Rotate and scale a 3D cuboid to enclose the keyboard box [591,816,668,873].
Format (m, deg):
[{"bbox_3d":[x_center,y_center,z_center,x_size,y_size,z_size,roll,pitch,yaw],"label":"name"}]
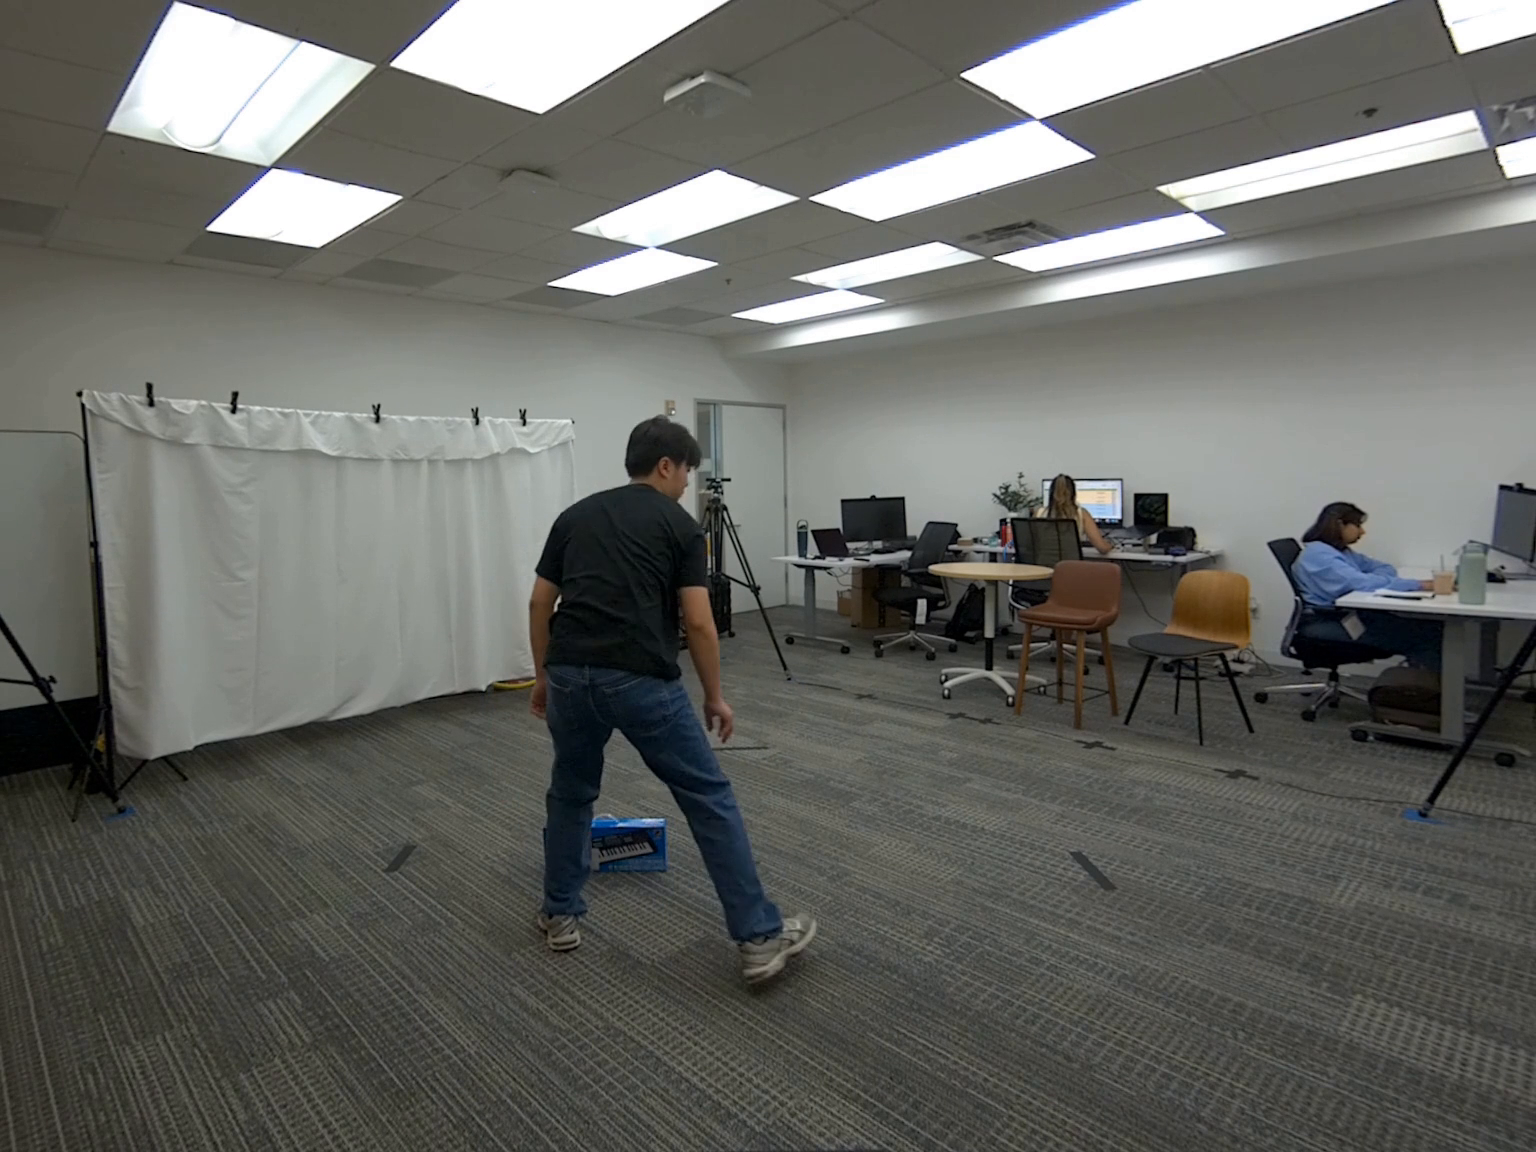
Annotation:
[{"bbox_3d":[-0.583,0.969,3.070,0.437,0.175,0.059,-1,7,2],"label":"keyboard box"}]
